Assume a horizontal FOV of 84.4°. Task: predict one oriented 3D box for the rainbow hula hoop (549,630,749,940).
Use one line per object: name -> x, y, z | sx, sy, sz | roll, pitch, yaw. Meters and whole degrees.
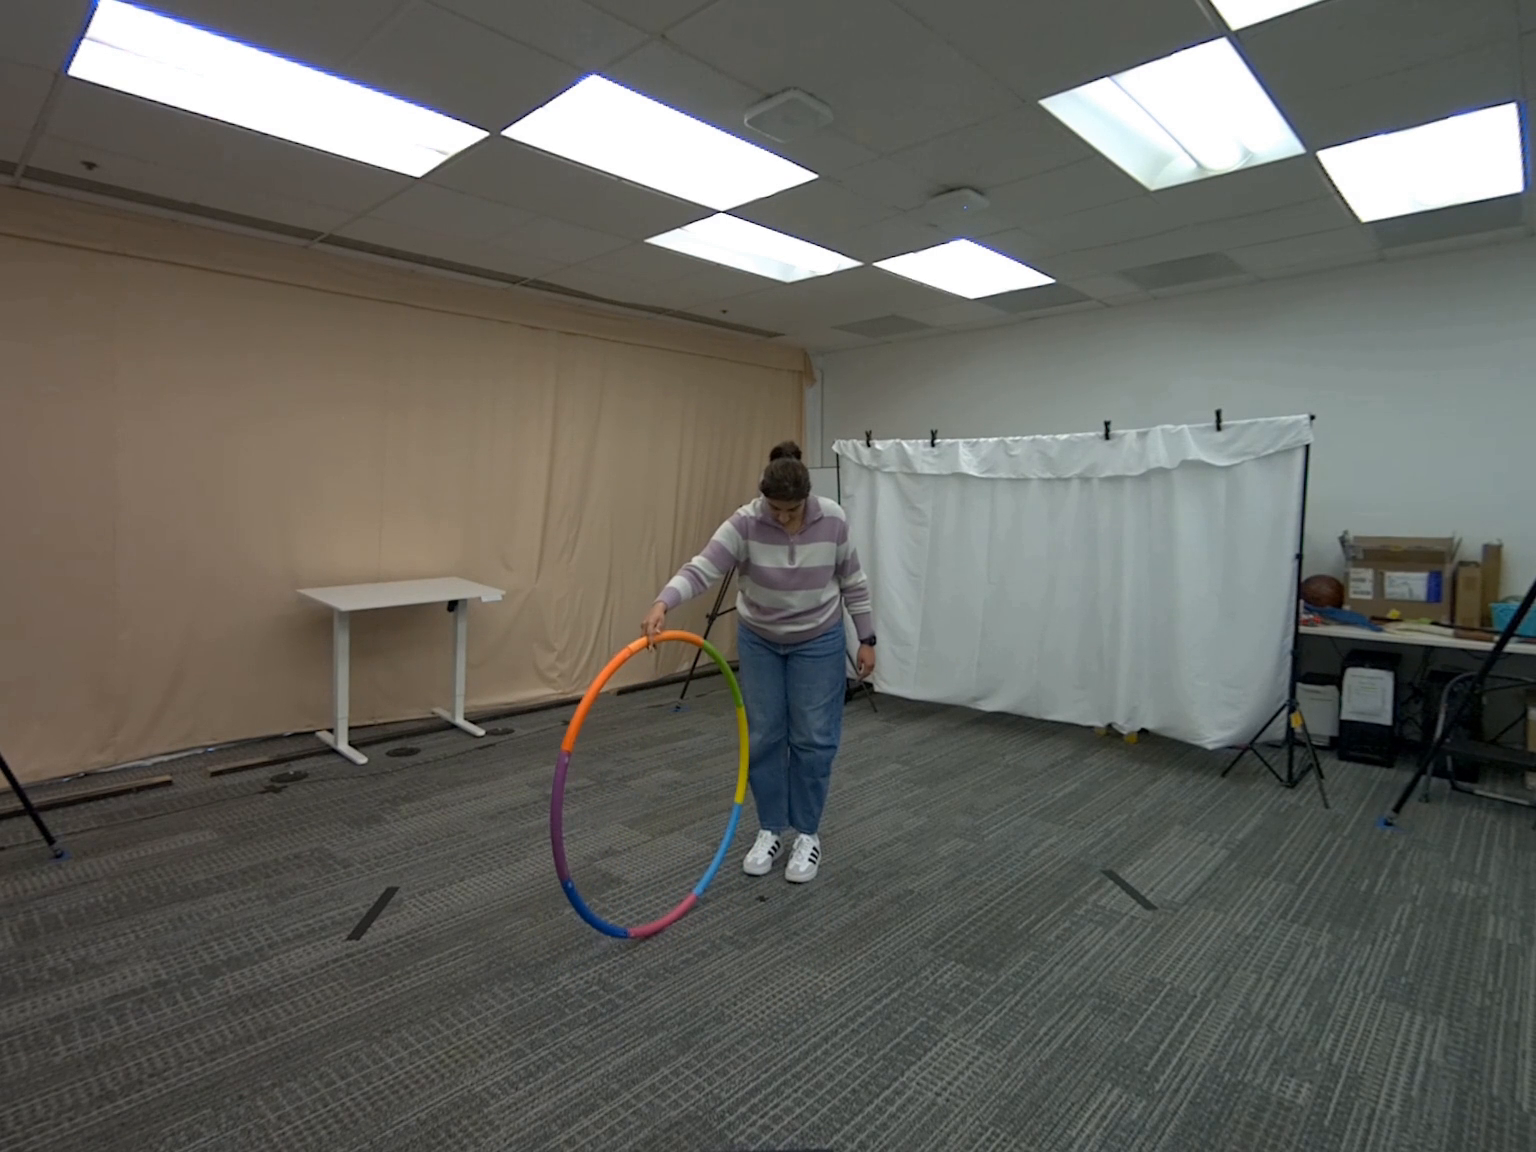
rainbow hula hoop -> -0.340, 0.674, 2.770 | 0.036, 0.976, 0.951 | 2, 4, 34
